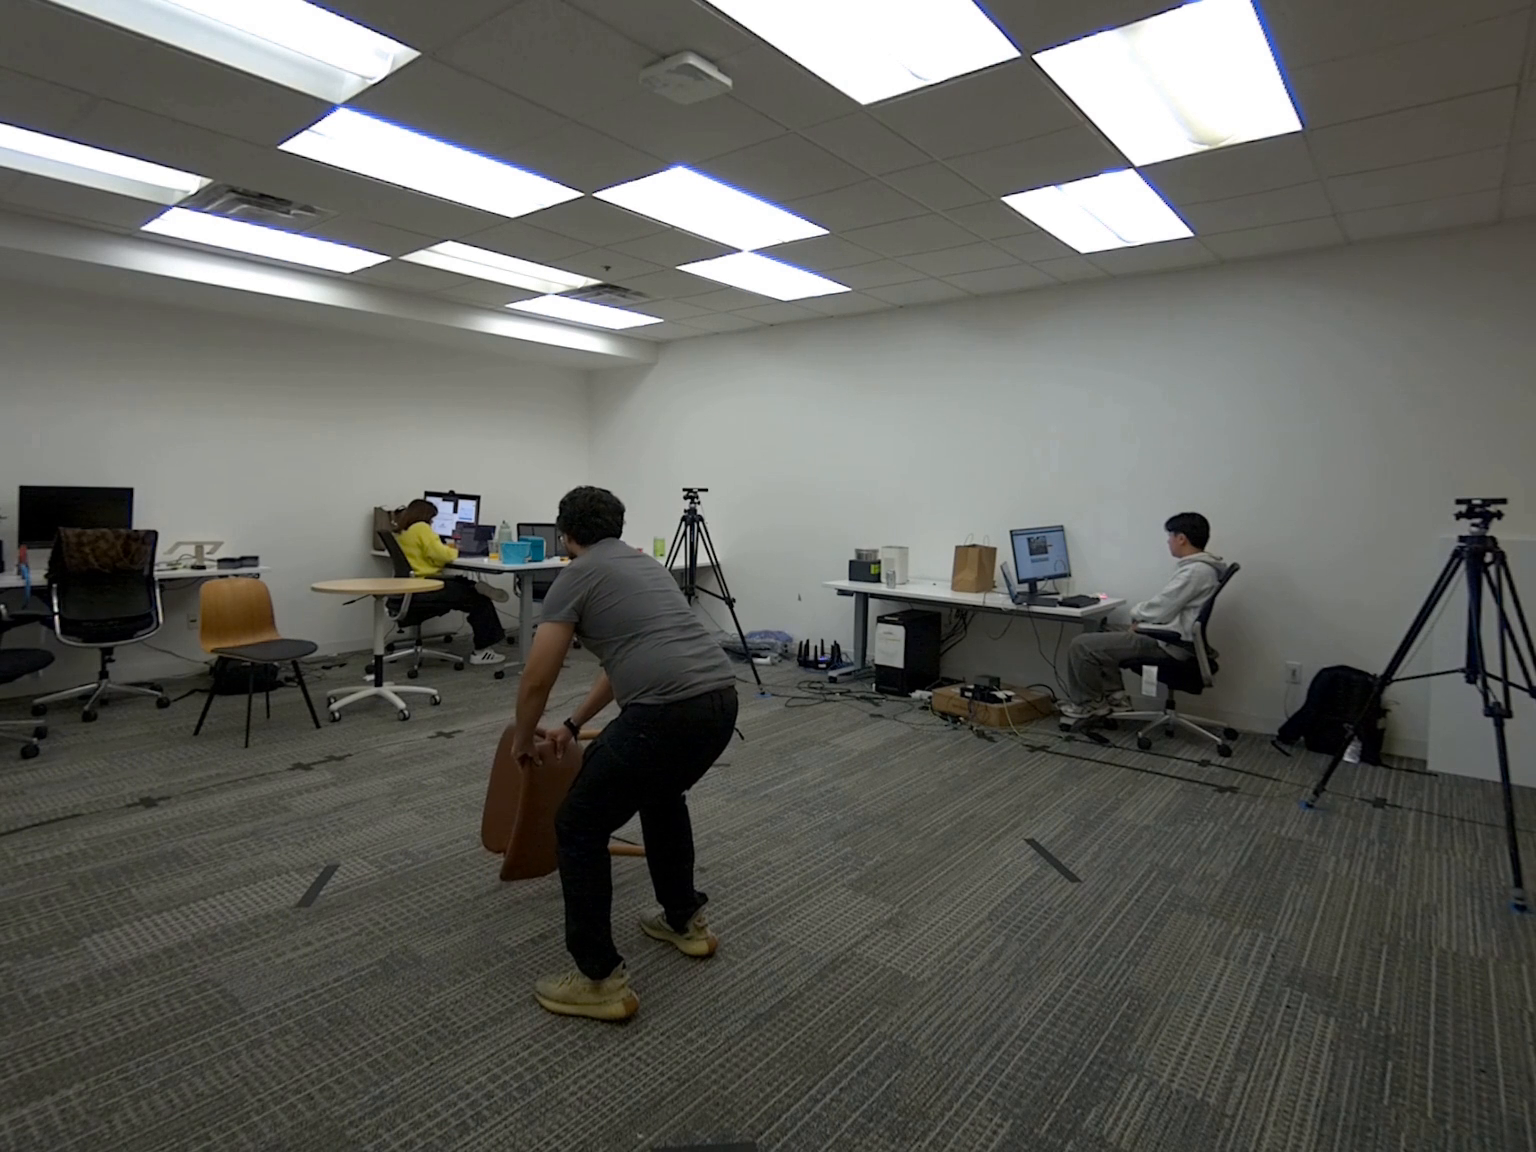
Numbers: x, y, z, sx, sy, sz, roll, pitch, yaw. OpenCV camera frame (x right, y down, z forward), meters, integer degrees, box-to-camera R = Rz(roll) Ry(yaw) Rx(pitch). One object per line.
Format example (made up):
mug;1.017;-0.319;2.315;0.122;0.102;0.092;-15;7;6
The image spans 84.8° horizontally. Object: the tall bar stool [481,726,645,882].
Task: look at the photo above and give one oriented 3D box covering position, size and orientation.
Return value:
tall bar stool;-0.724;0.775;3.009;0.483;0.459;0.857;7;-7;32
